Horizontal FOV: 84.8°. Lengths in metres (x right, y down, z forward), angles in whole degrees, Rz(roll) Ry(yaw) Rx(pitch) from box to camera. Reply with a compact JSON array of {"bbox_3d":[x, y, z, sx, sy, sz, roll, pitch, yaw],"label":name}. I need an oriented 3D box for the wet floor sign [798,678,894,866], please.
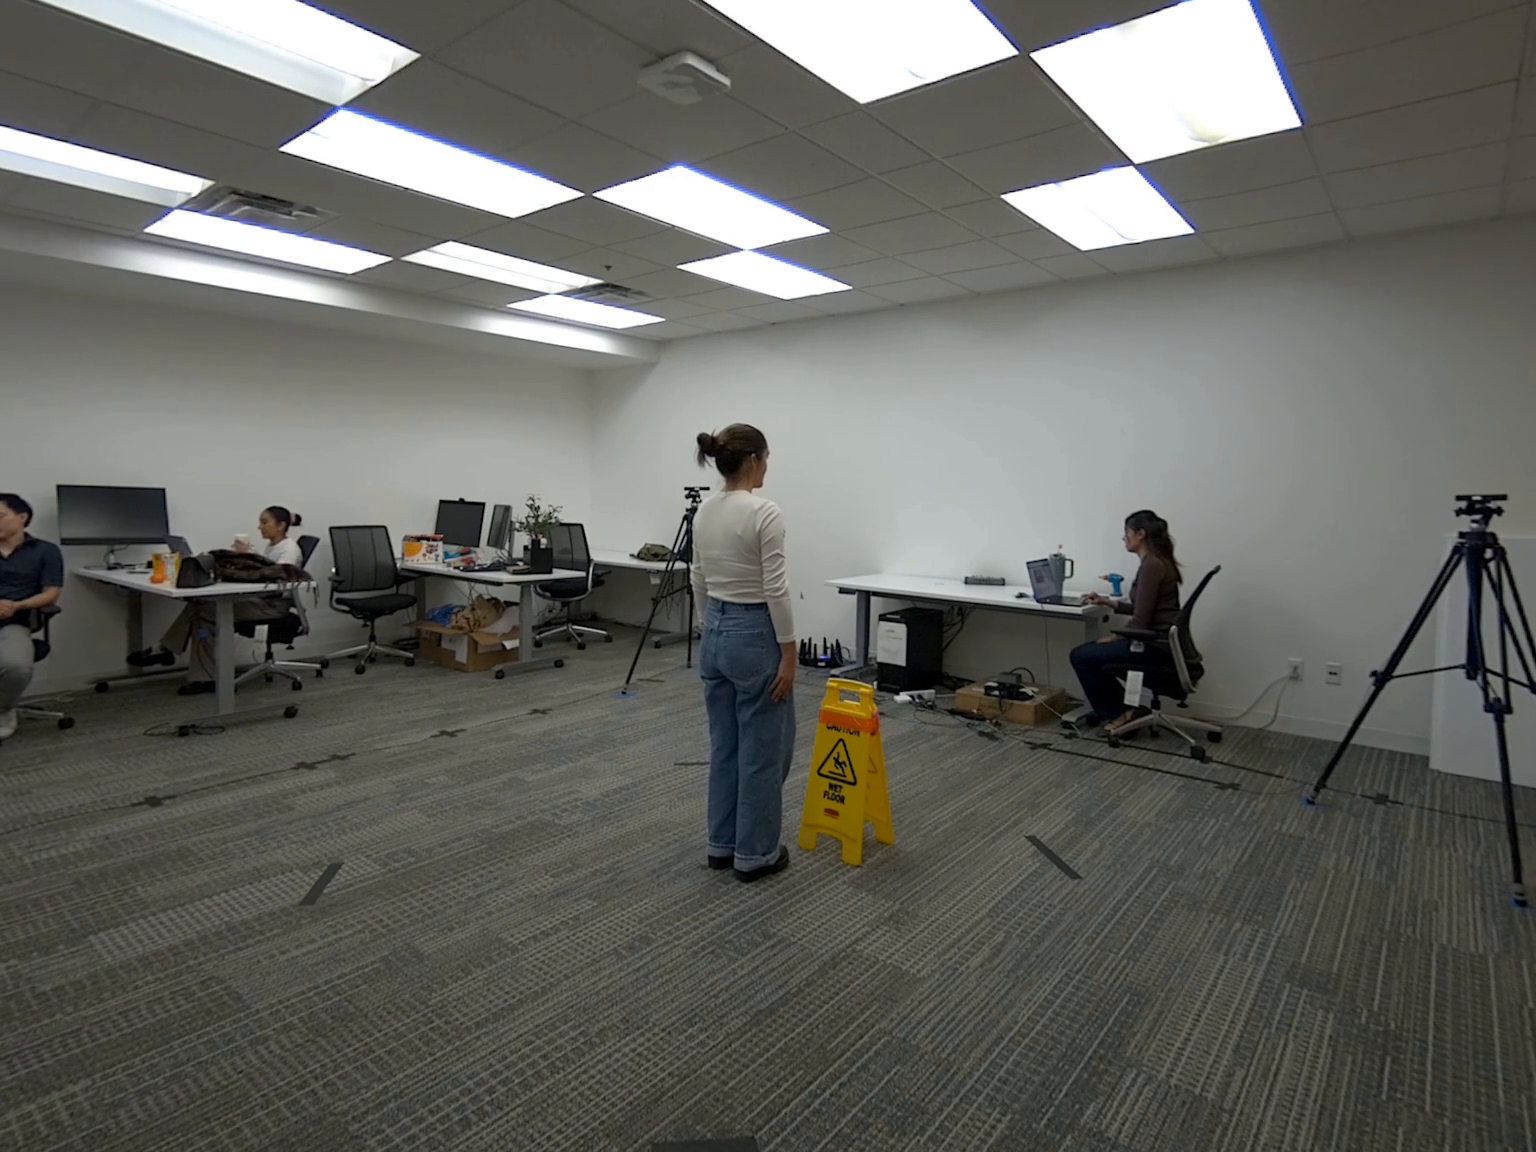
[{"bbox_3d":[0.298,0.730,3.314,0.291,0.644,0.281,3,5,37],"label":"wet floor sign"}]
